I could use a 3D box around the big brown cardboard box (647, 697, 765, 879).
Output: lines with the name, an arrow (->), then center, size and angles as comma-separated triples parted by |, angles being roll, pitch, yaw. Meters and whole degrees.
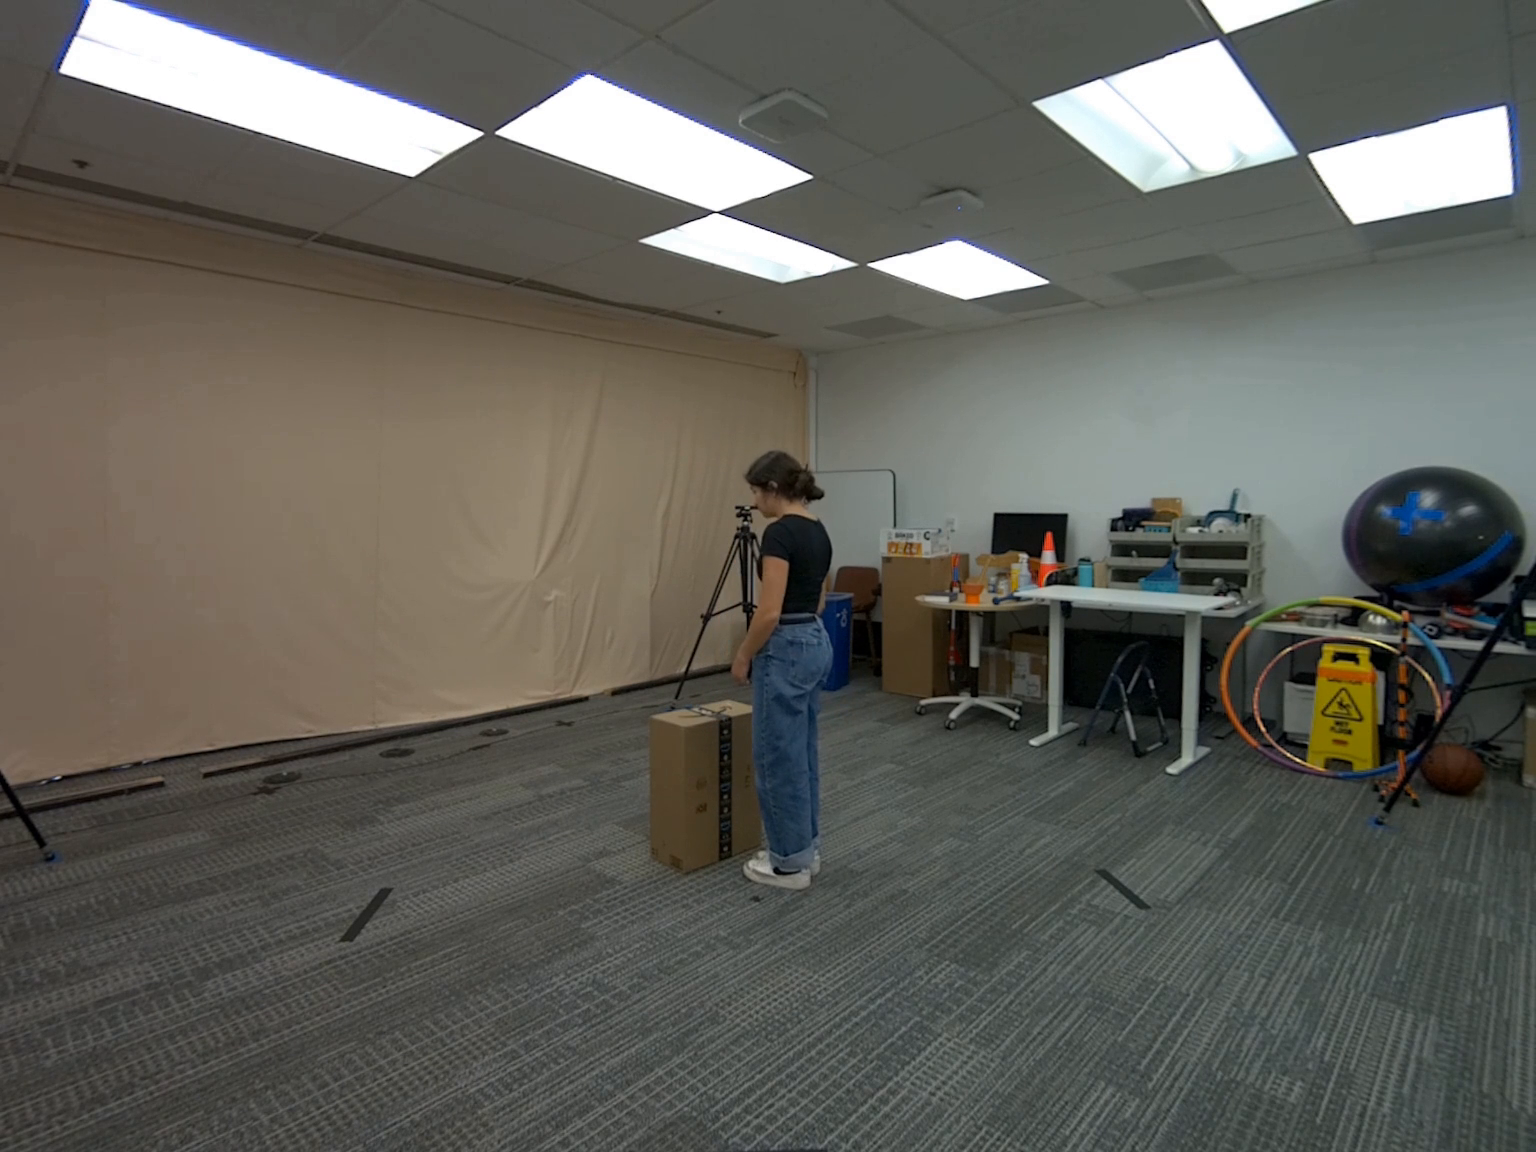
big brown cardboard box -> -0.246, 0.822, 3.386 | 0.404, 0.588, 0.241 | -2, 3, -42
